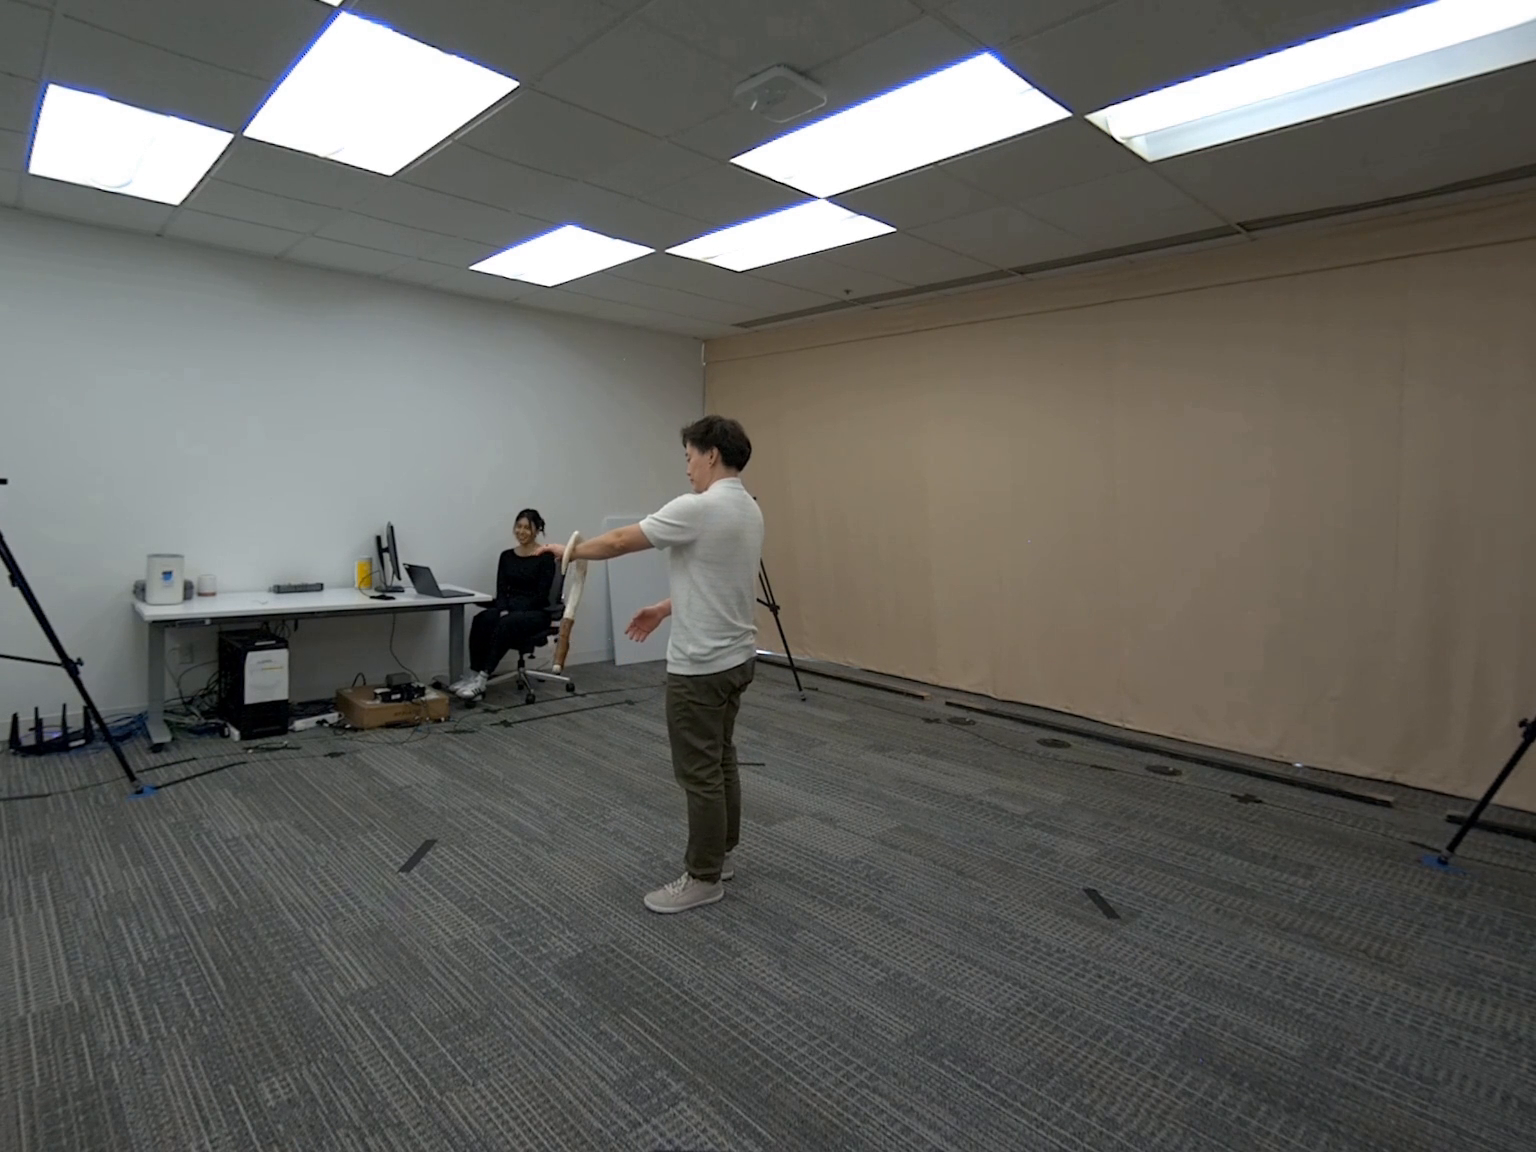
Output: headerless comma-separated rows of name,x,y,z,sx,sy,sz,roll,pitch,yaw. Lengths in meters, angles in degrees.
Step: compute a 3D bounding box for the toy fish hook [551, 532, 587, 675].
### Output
toy fish hook,-0.702,0.084,2.917,0.049,0.515,0.219,-1,-27,9
